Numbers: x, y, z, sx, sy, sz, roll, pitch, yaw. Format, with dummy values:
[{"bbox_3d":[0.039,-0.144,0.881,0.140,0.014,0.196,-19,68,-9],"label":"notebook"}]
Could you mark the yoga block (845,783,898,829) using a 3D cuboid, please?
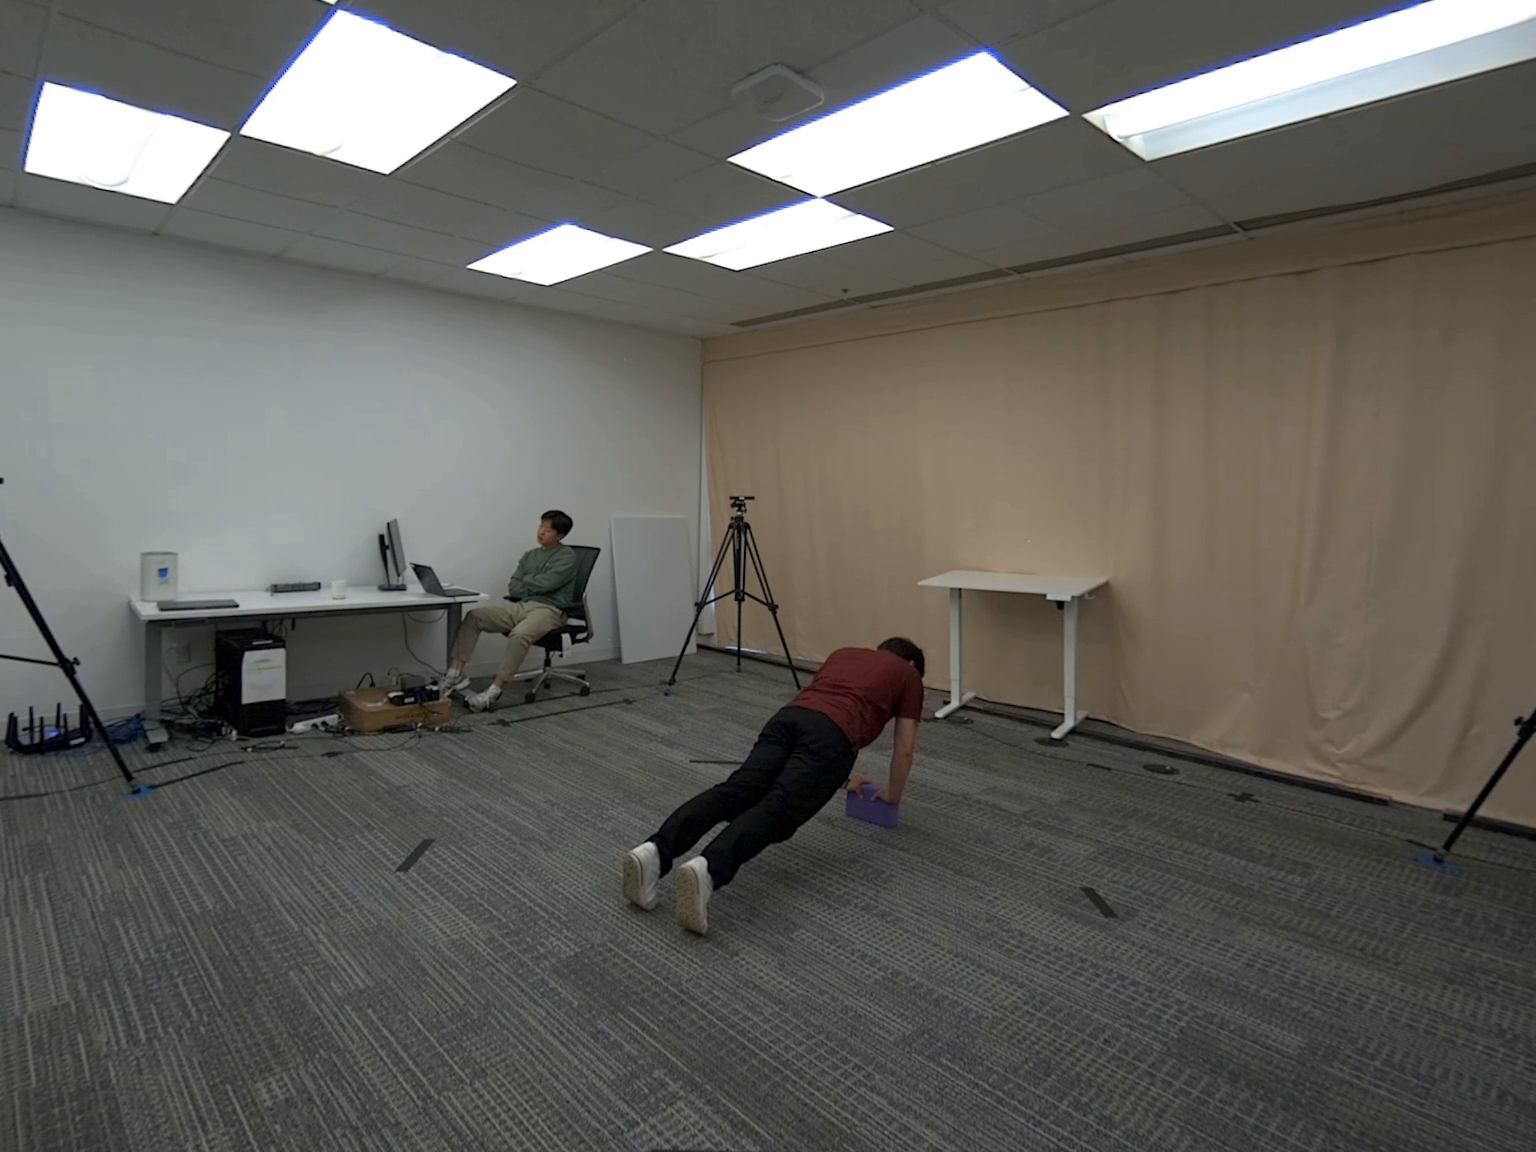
[{"bbox_3d":[0.444,0.999,3.693,0.235,0.149,0.074,4,1,39],"label":"yoga block"}]
